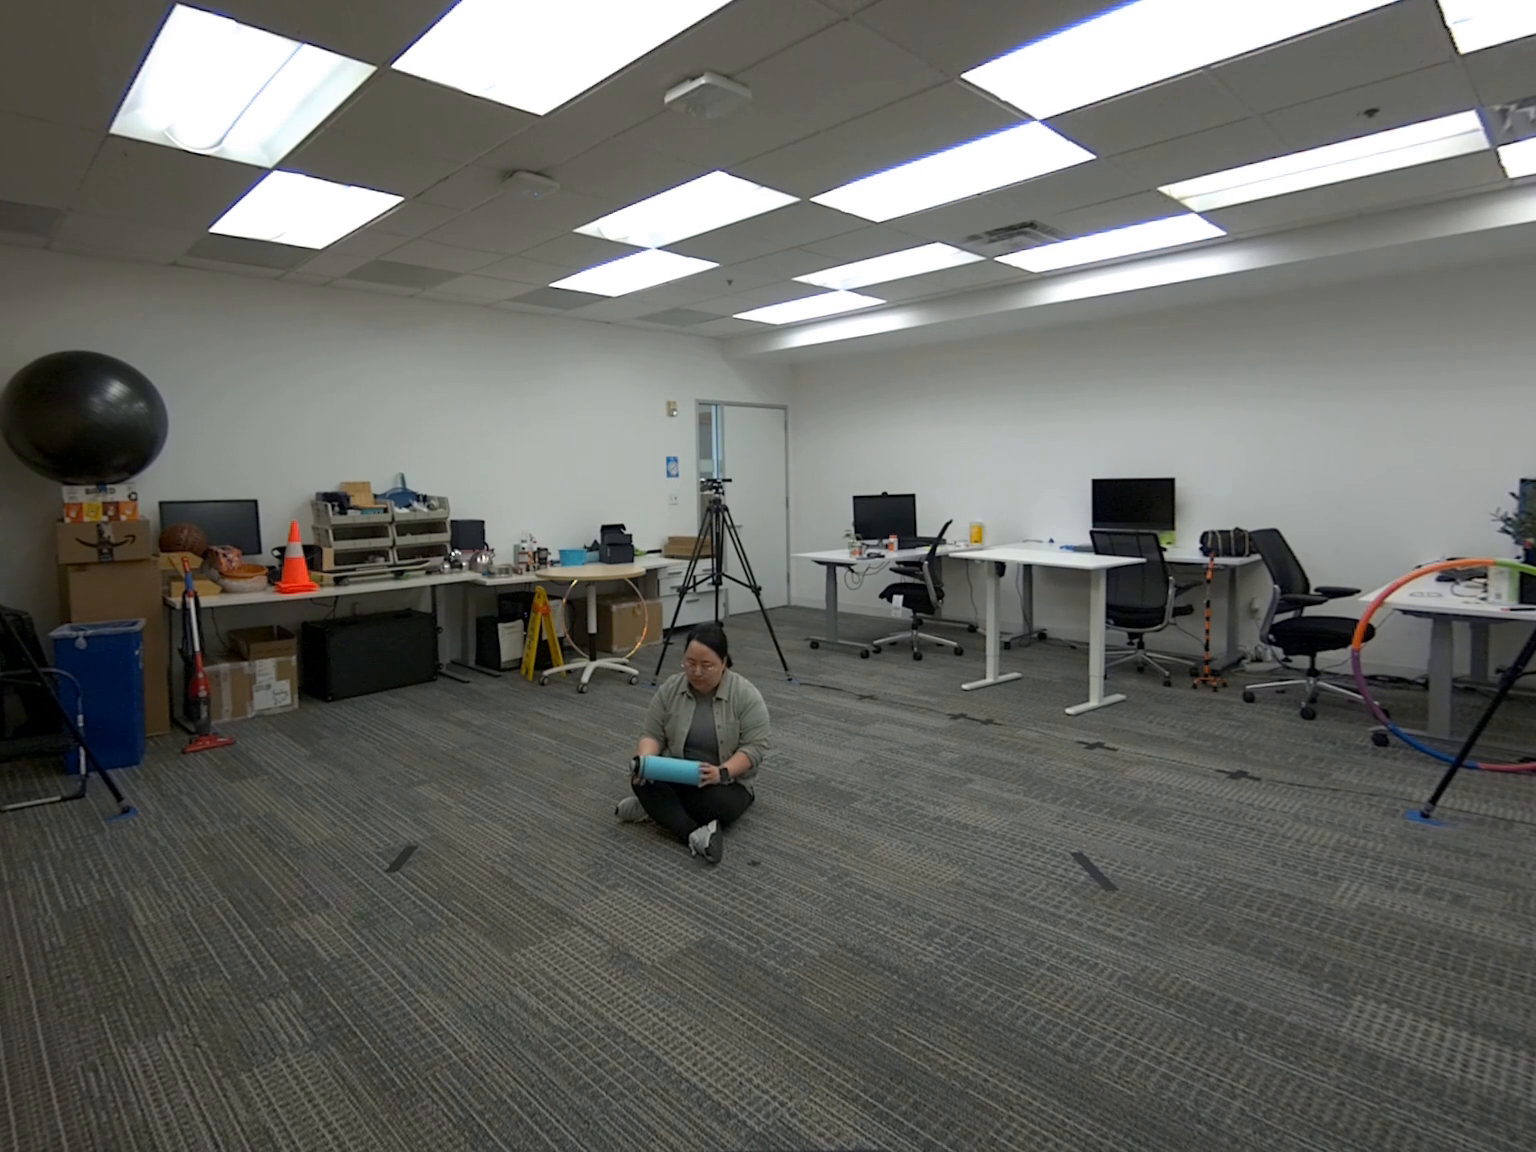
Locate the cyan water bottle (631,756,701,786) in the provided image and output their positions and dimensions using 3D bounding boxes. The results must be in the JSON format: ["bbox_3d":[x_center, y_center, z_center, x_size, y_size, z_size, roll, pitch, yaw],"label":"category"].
[{"bbox_3d":[-0.411,0.764,3.327,0.280,0.092,0.093,11,3,-9],"label":"cyan water bottle"}]
